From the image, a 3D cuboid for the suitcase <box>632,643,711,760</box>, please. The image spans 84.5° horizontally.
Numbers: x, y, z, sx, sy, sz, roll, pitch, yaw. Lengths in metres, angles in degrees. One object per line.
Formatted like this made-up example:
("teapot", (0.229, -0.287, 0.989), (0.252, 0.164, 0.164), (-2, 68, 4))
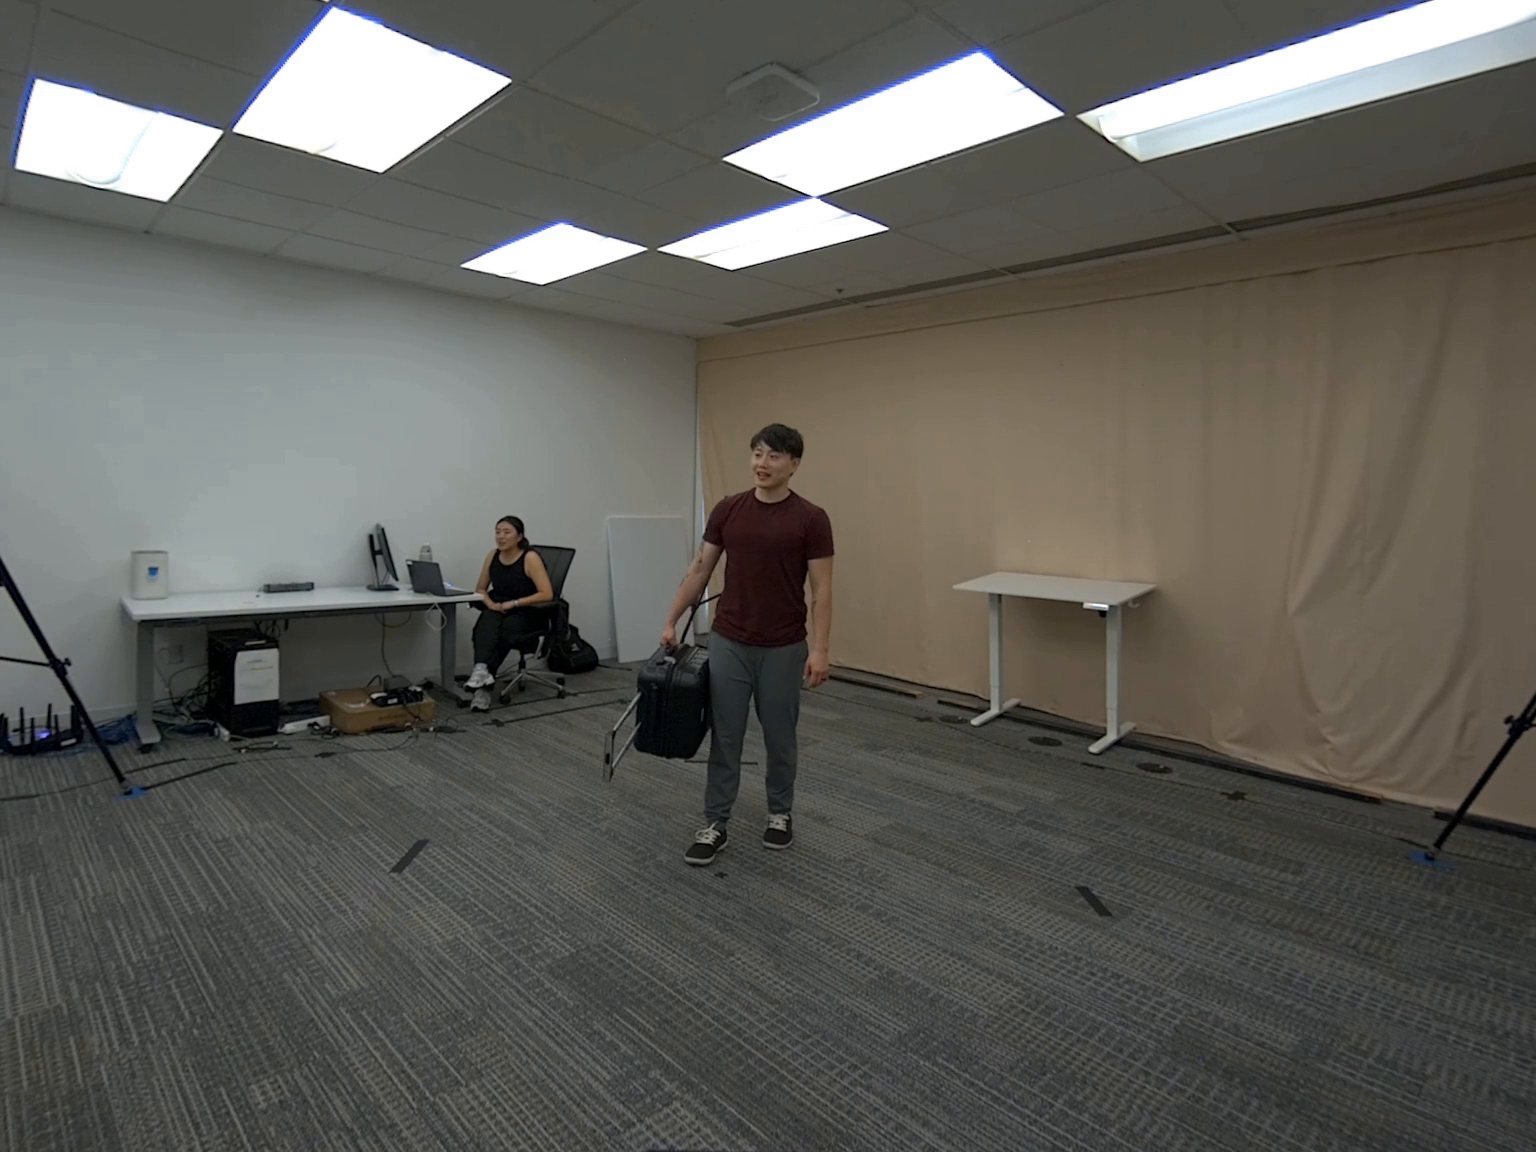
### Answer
("suitcase", (-0.392, 0.511, 3.181), (0.258, 0.382, 0.980), (6, 7, 2))
